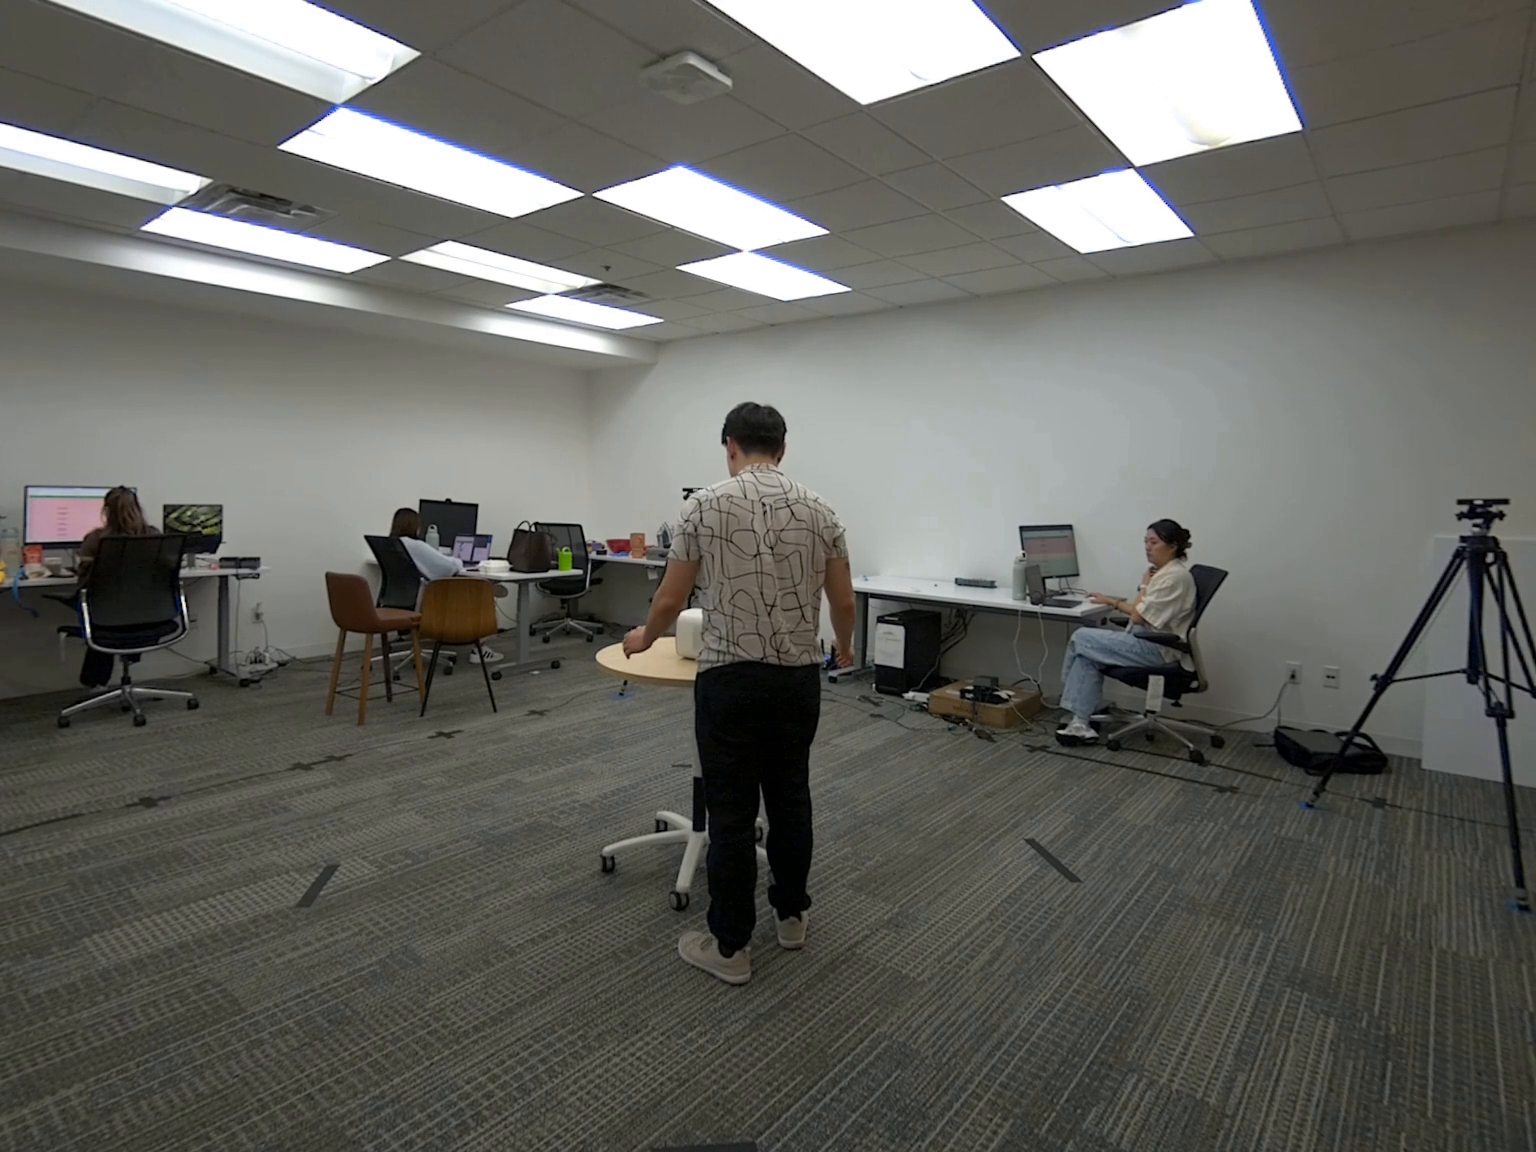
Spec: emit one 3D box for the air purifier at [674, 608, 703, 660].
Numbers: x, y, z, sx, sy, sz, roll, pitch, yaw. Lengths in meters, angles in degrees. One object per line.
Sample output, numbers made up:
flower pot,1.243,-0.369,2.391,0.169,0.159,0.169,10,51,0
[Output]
air purifier,-0.178,0.208,3.007,0.274,0.171,0.166,5,5,32
